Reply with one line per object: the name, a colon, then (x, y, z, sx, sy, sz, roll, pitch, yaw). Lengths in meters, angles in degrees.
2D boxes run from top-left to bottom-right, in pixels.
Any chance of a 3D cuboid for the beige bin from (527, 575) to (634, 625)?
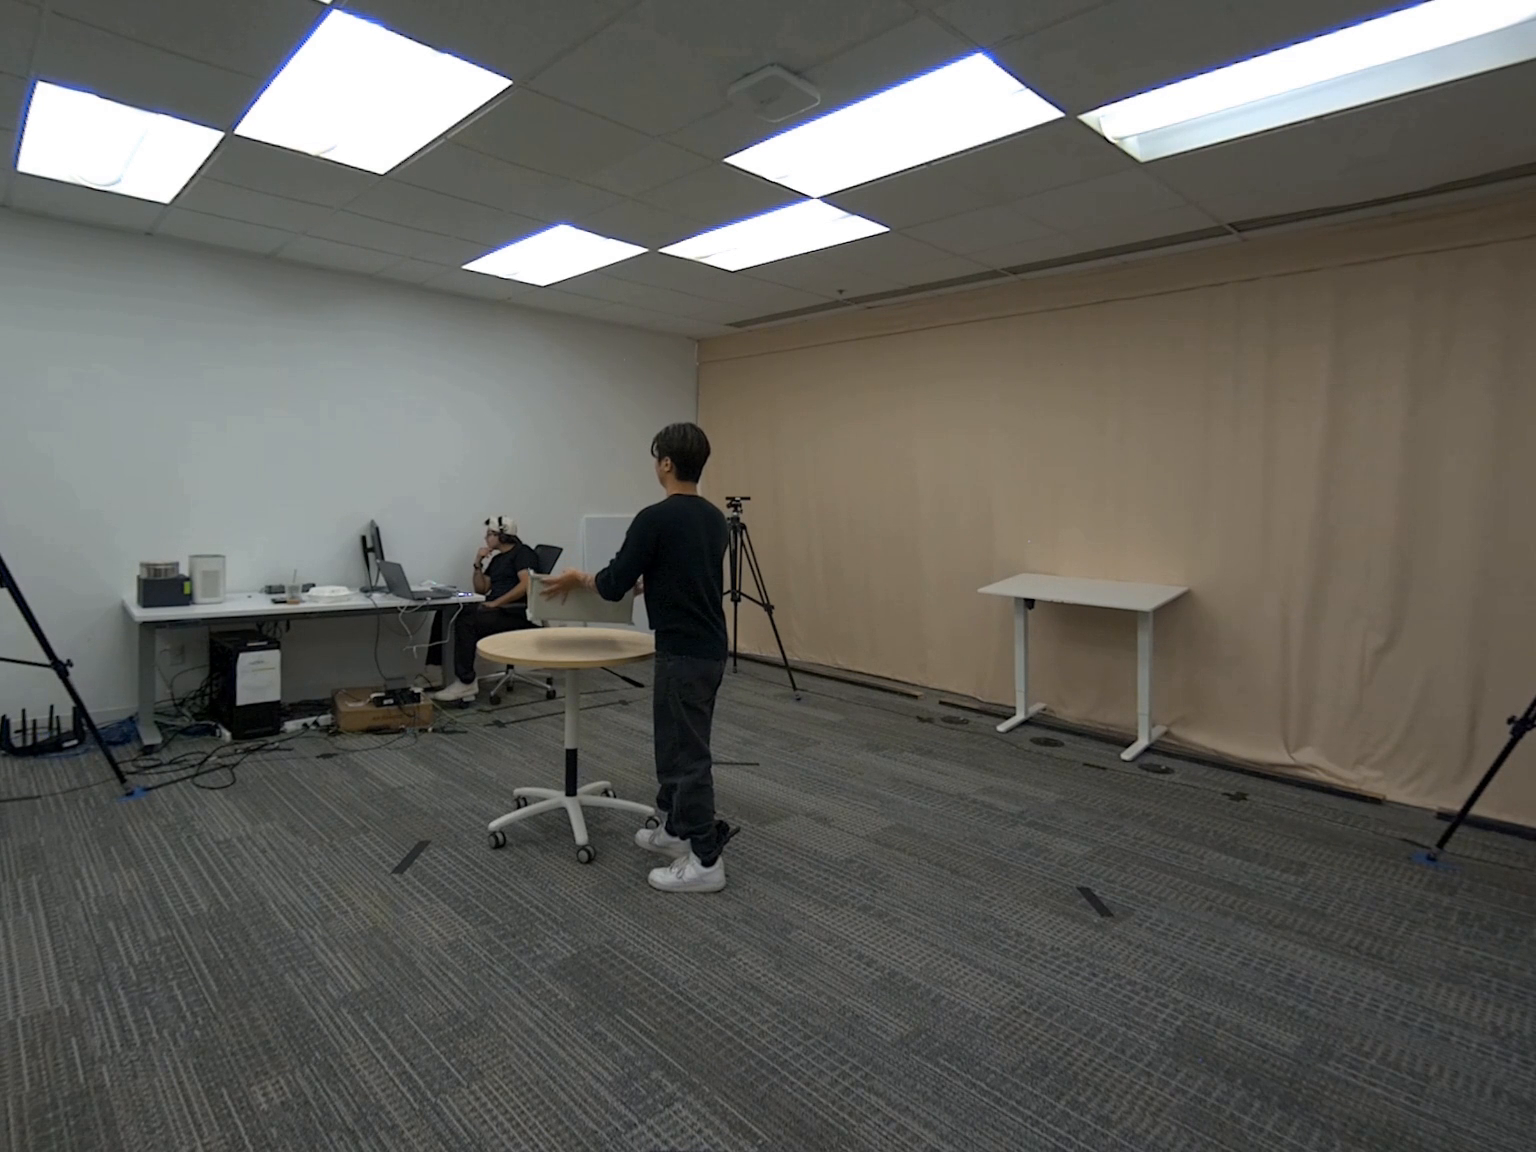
beige bin: (-0.769, 0.081, 3.438, 0.417, 0.188, 0.383, 4, 7, -14)
